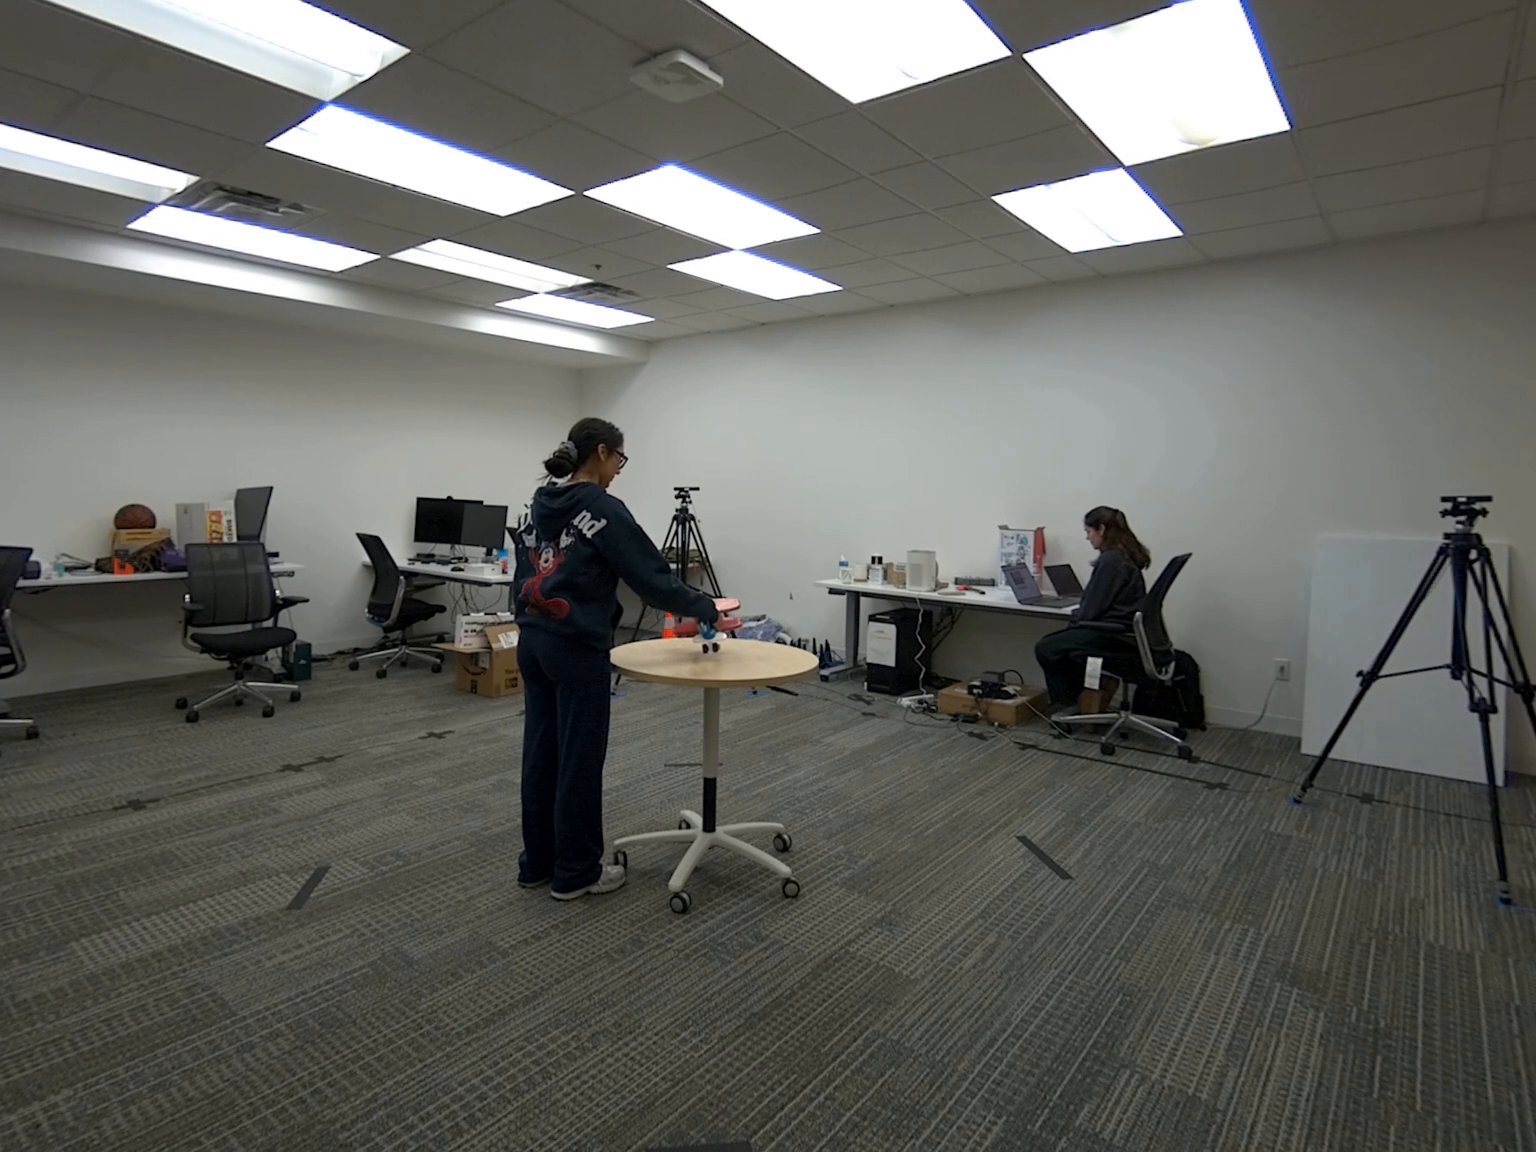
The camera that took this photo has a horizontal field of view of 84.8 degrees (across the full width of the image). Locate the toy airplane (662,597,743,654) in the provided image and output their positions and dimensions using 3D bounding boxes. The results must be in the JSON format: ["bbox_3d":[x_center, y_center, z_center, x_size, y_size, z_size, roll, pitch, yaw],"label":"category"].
[{"bbox_3d":[-0.213,0.176,3.075,0.246,0.155,0.268,-12,13,-28],"label":"toy airplane"}]
